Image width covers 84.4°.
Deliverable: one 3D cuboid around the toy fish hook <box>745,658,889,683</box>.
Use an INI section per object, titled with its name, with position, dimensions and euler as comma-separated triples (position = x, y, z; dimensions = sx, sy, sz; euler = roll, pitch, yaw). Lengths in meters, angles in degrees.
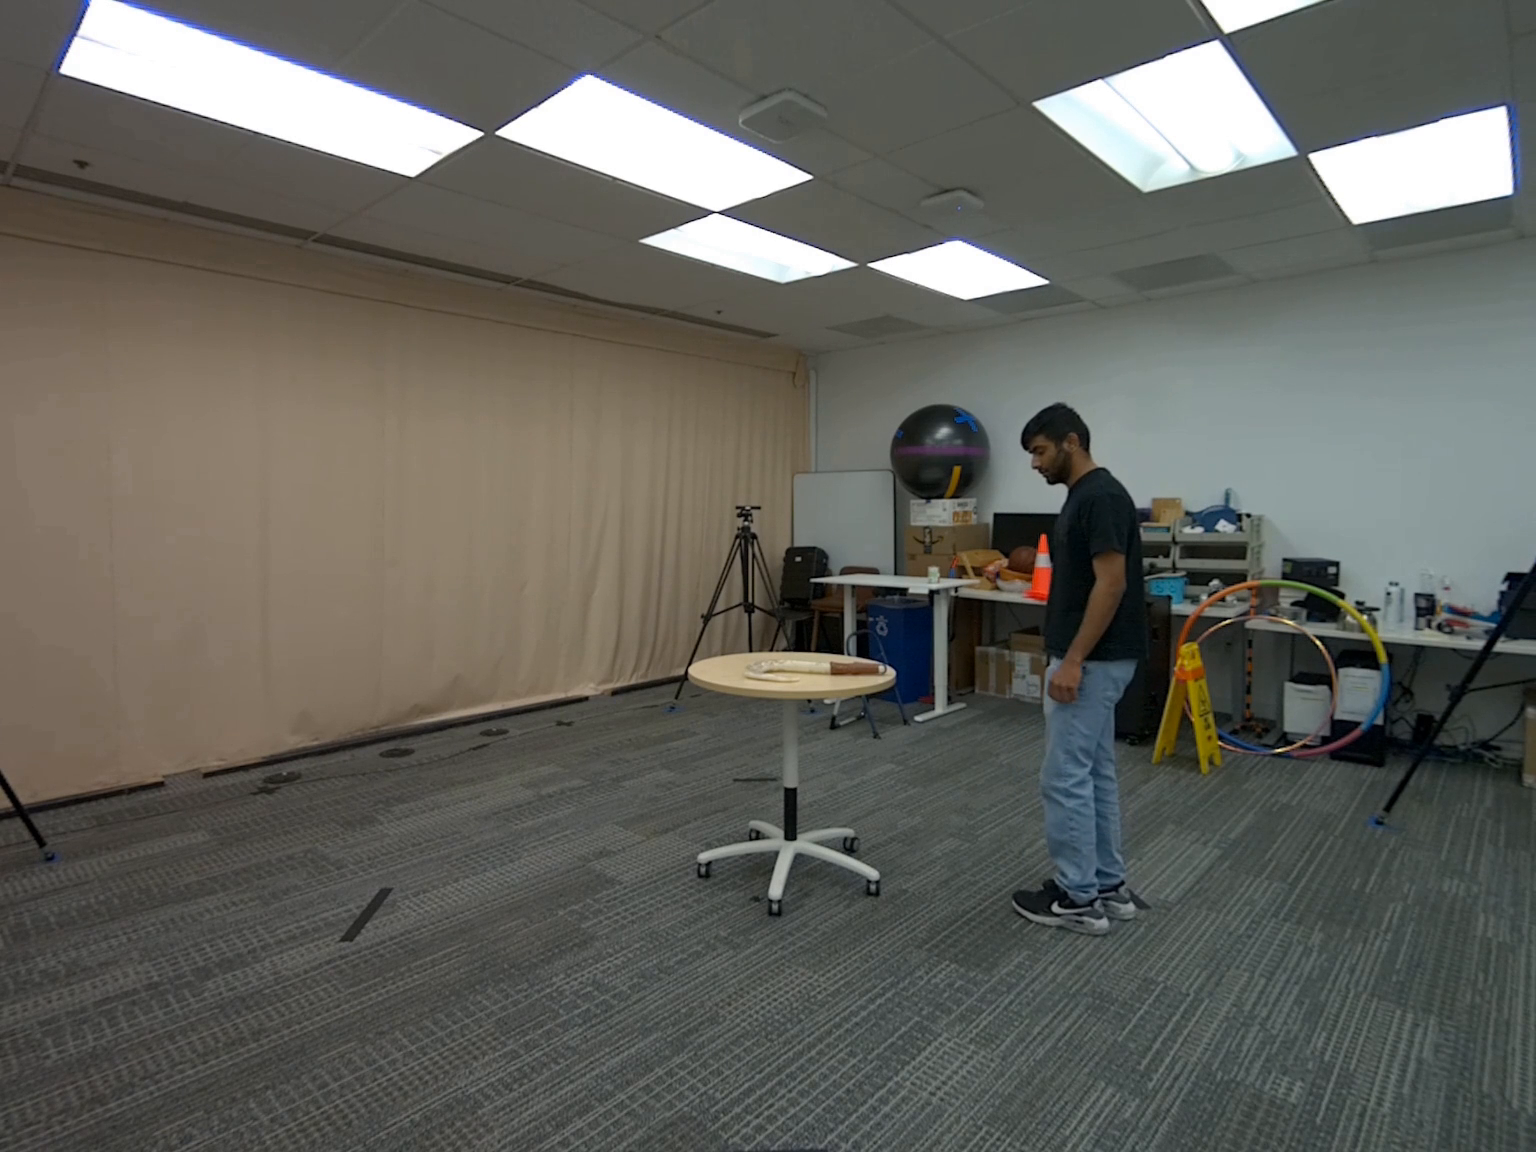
[toy fish hook]
position = 0.183, 0.350, 2.995
dimensions = 0.509, 0.048, 0.225
euler = -1, 13, 5
